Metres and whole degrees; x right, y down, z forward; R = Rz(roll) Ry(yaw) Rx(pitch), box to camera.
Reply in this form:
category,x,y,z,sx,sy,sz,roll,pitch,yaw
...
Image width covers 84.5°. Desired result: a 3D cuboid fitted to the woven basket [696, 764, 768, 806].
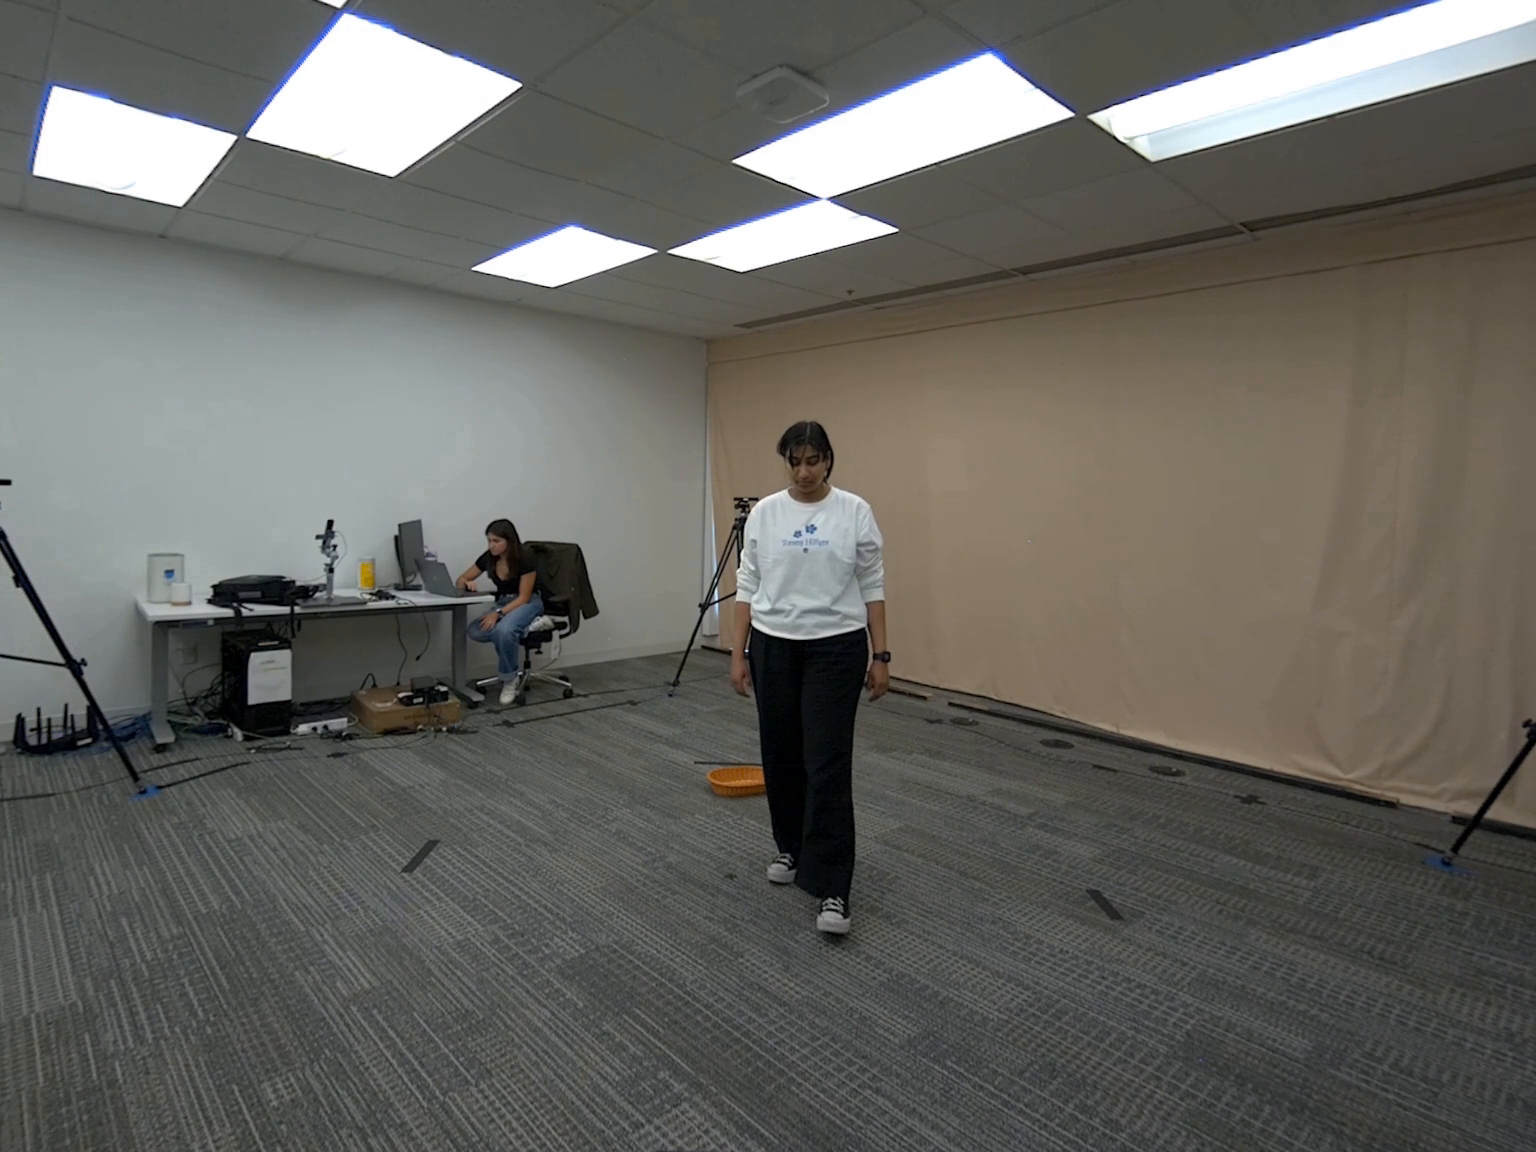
category,x,y,z,sx,sy,sz,roll,pitch,yaw
woven basket,-0.136,0.994,4.052,0.344,0.073,0.257,0,7,-23
